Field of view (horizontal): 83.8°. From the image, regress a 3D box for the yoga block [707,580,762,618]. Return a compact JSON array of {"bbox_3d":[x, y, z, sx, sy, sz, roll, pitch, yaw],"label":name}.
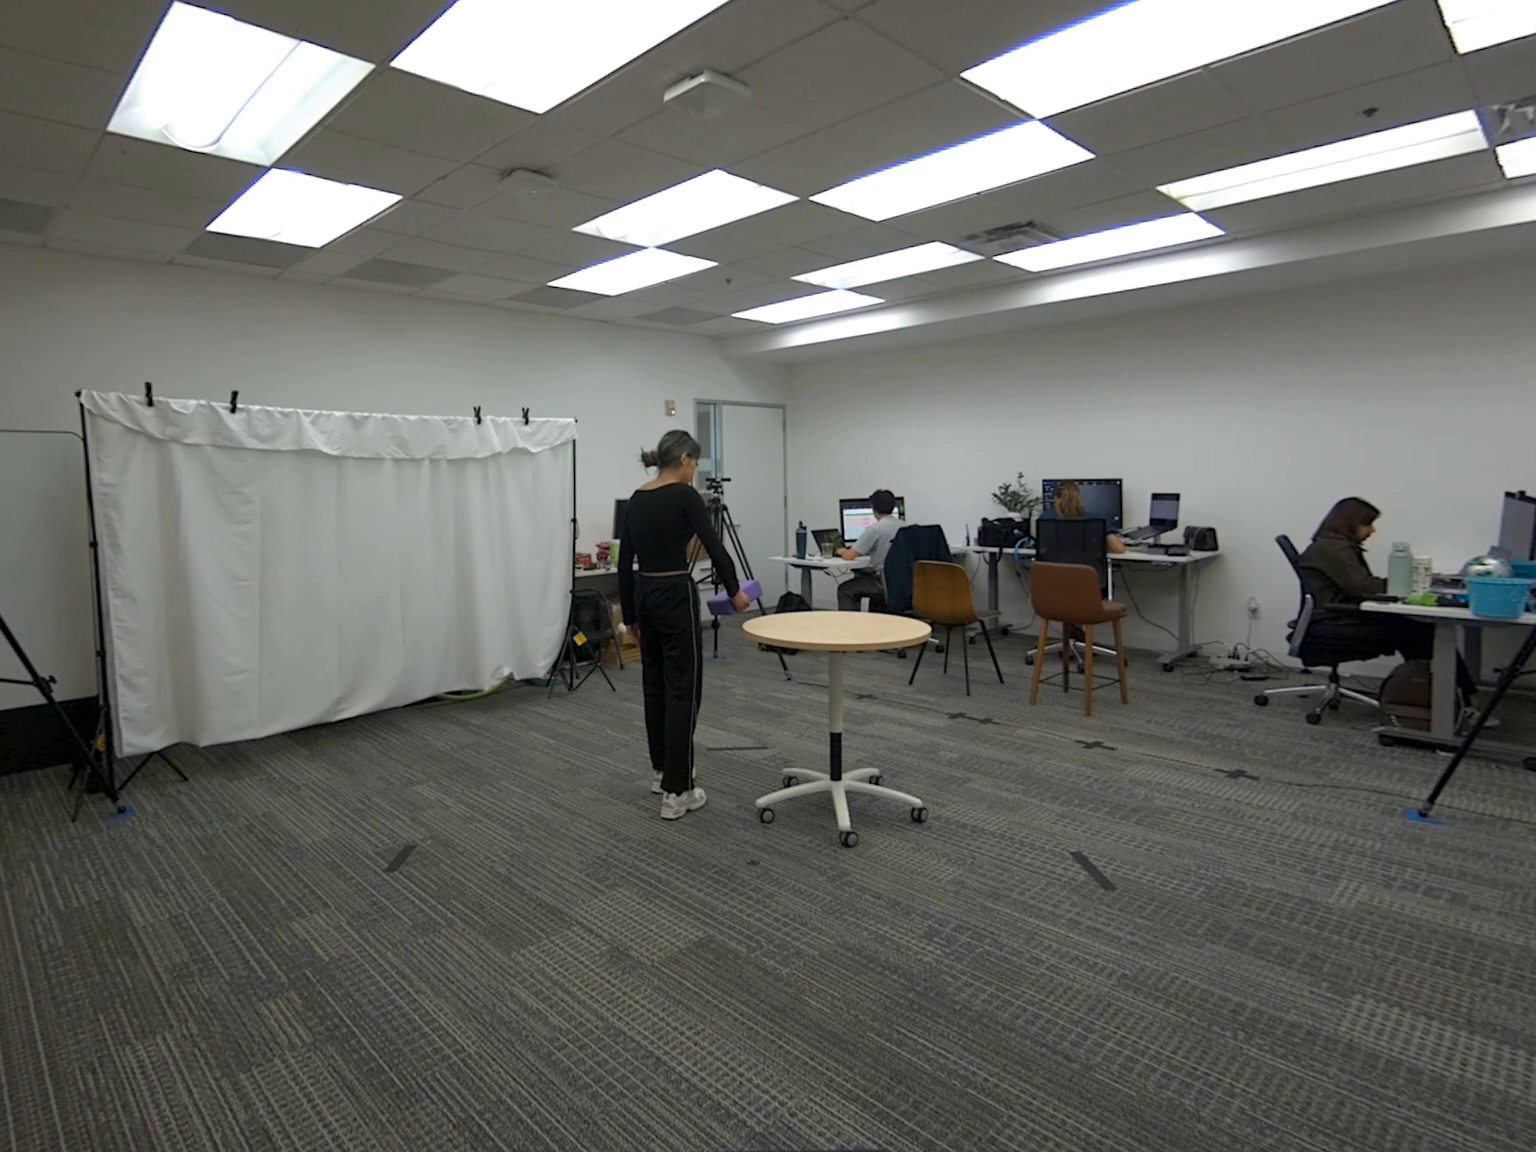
[{"bbox_3d":[-0.158,0.098,3.897,0.153,0.075,0.227,-6,20,45],"label":"yoga block"}]
